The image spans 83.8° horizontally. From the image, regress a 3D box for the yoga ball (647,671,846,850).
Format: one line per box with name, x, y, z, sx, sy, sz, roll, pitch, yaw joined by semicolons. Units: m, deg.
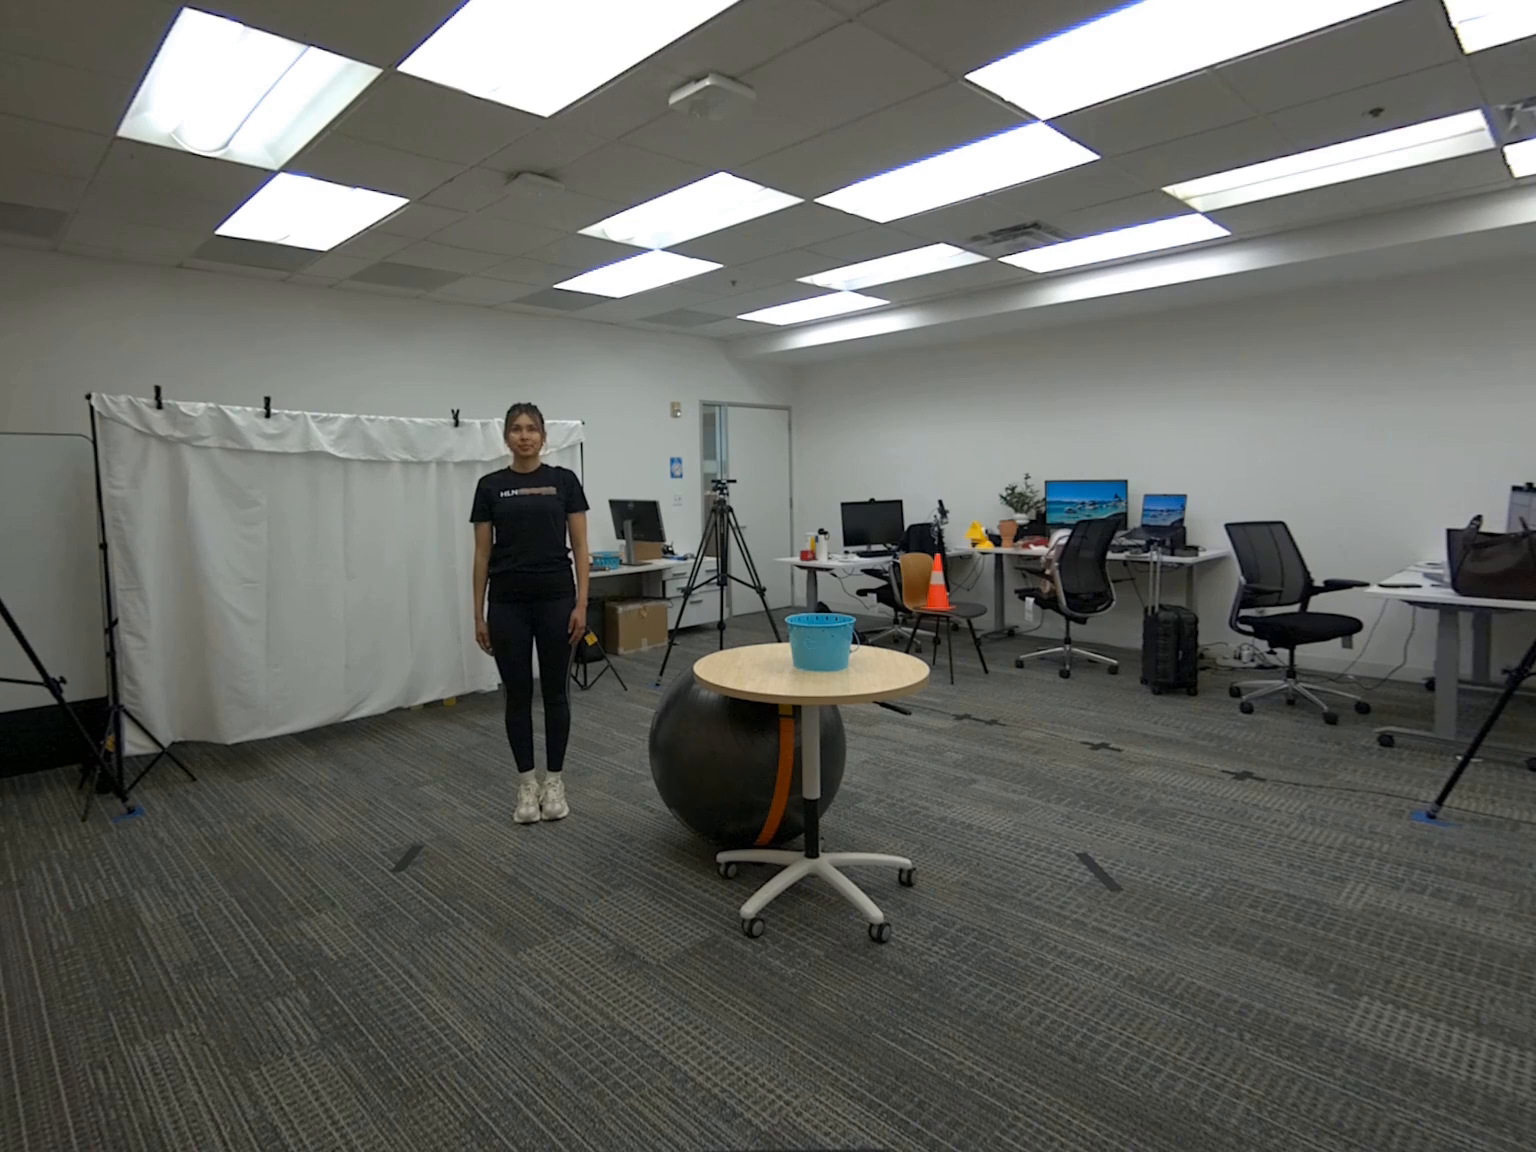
yoga ball;-0.078;0.661;3.285;0.757;0.755;0.762;-1;5;-2
